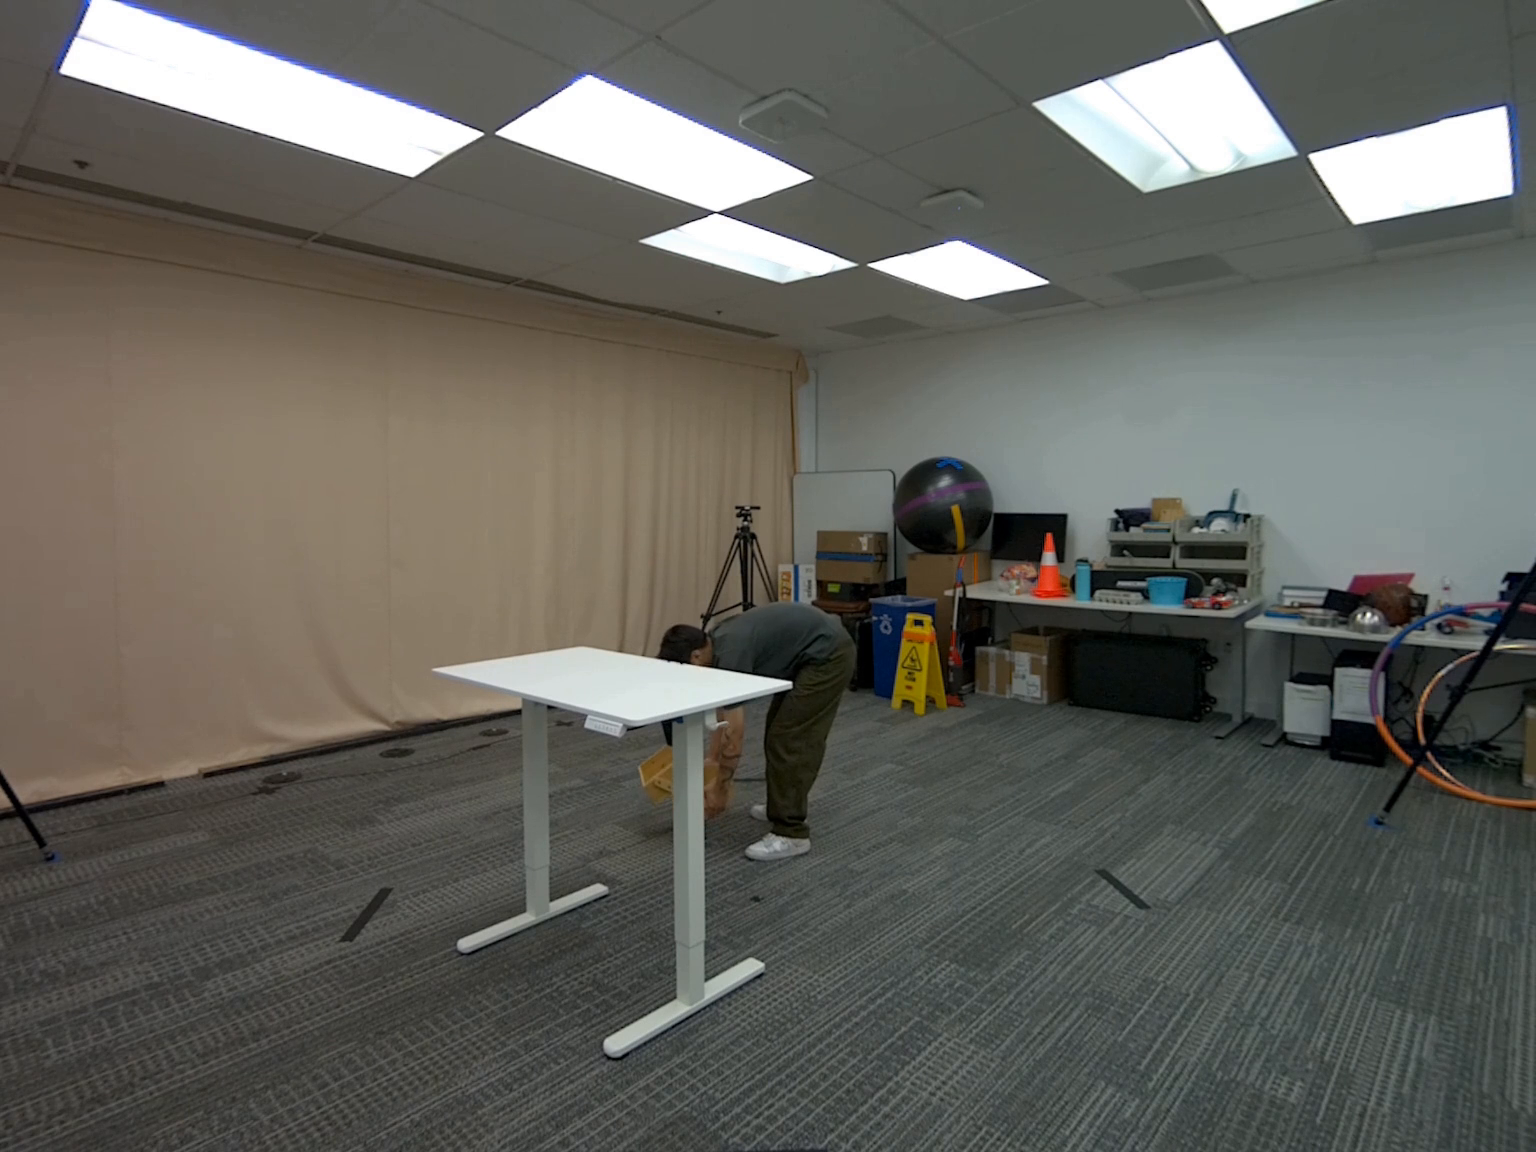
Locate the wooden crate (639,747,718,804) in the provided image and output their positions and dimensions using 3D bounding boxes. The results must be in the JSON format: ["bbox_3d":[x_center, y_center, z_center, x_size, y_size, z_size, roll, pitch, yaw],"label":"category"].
[{"bbox_3d":[-0.355,0.861,3.573,0.301,0.271,0.328,-37,9,-8],"label":"wooden crate"}]
